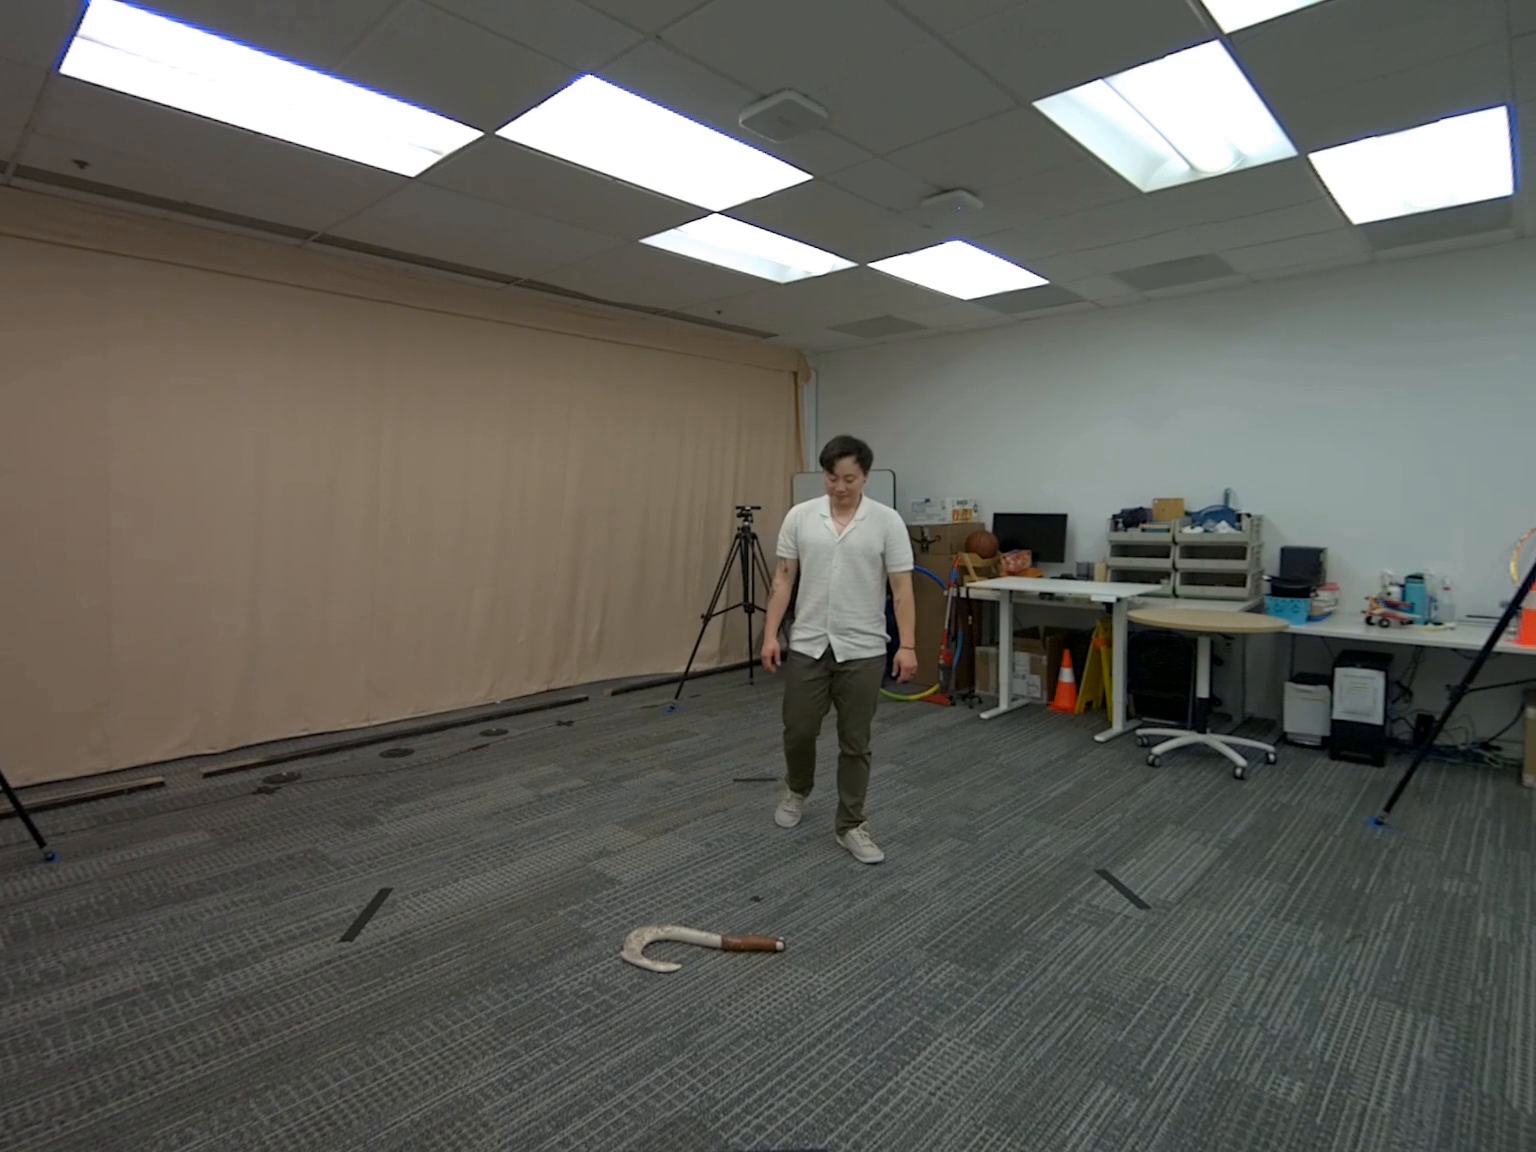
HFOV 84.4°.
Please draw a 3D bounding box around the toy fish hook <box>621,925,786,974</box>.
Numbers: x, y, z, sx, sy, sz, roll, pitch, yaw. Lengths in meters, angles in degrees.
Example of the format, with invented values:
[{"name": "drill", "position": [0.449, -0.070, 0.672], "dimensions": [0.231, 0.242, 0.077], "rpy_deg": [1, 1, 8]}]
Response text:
[{"name": "toy fish hook", "position": [-0.192, 1.157, 2.606], "dimensions": [0.510, 0.048, 0.225], "rpy_deg": [-1, 12, 6]}]
